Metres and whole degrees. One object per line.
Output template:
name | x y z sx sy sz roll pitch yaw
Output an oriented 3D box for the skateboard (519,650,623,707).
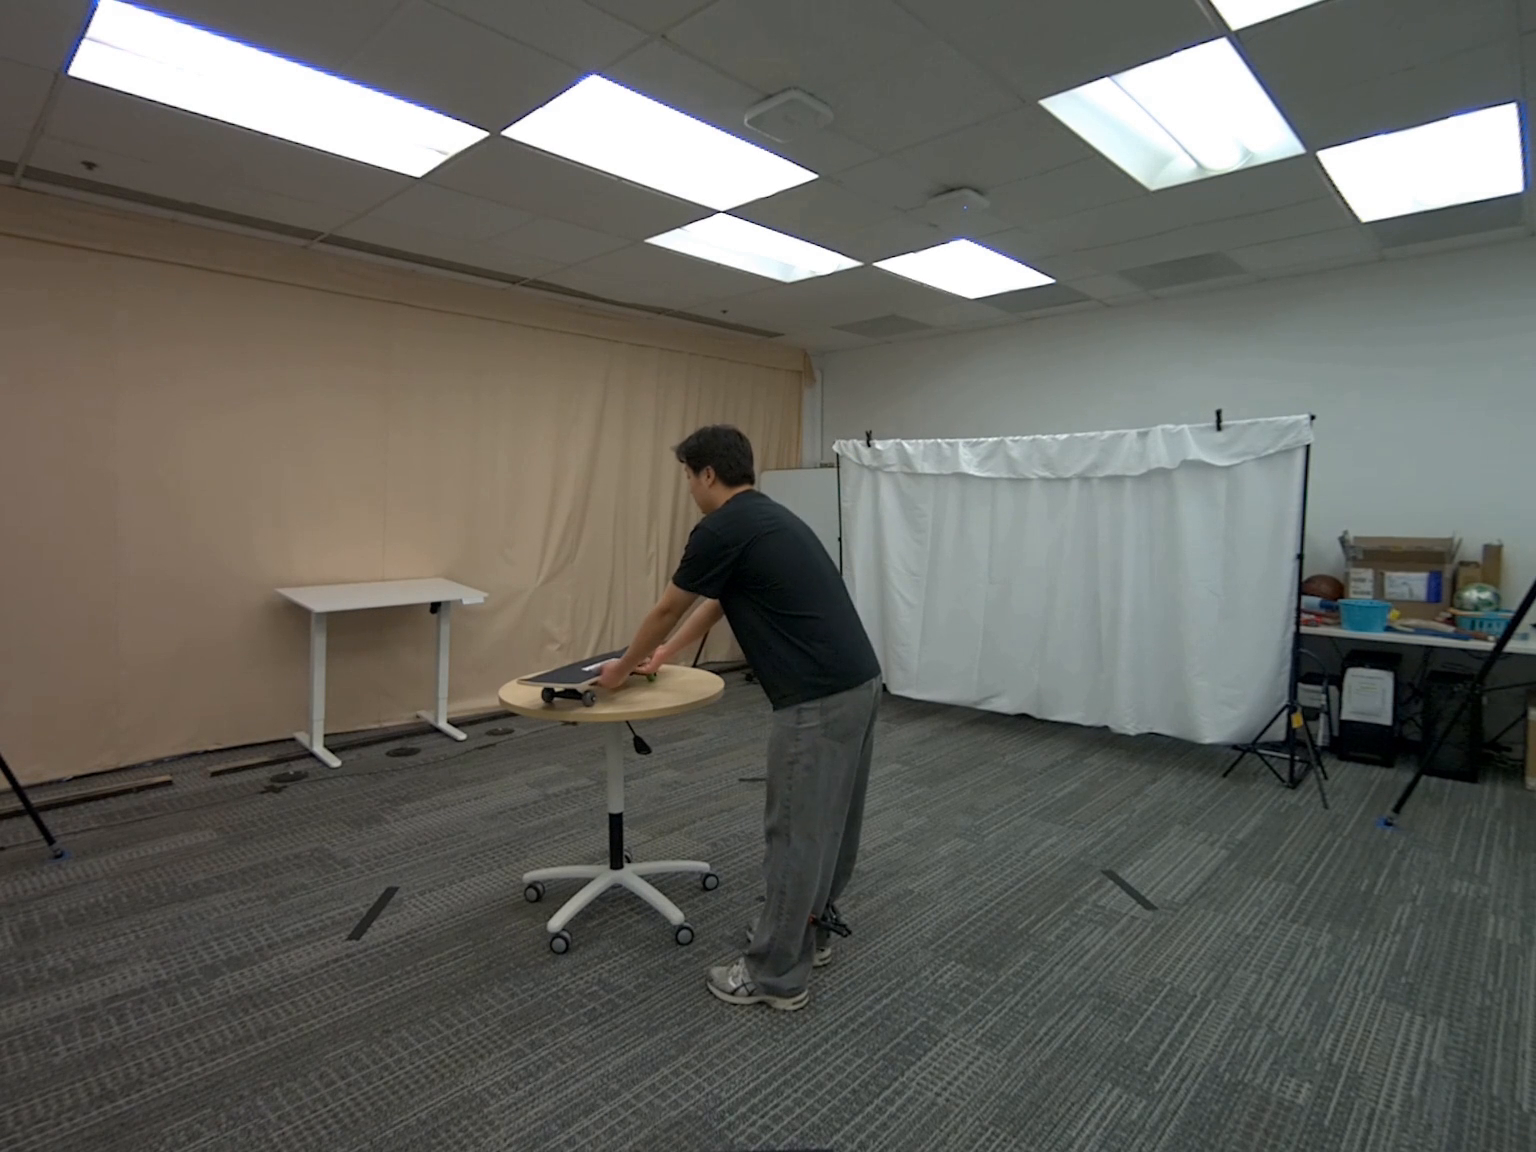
skateboard | -0.553 0.334 2.791 0.198 0.110 0.768 -3 4 23
